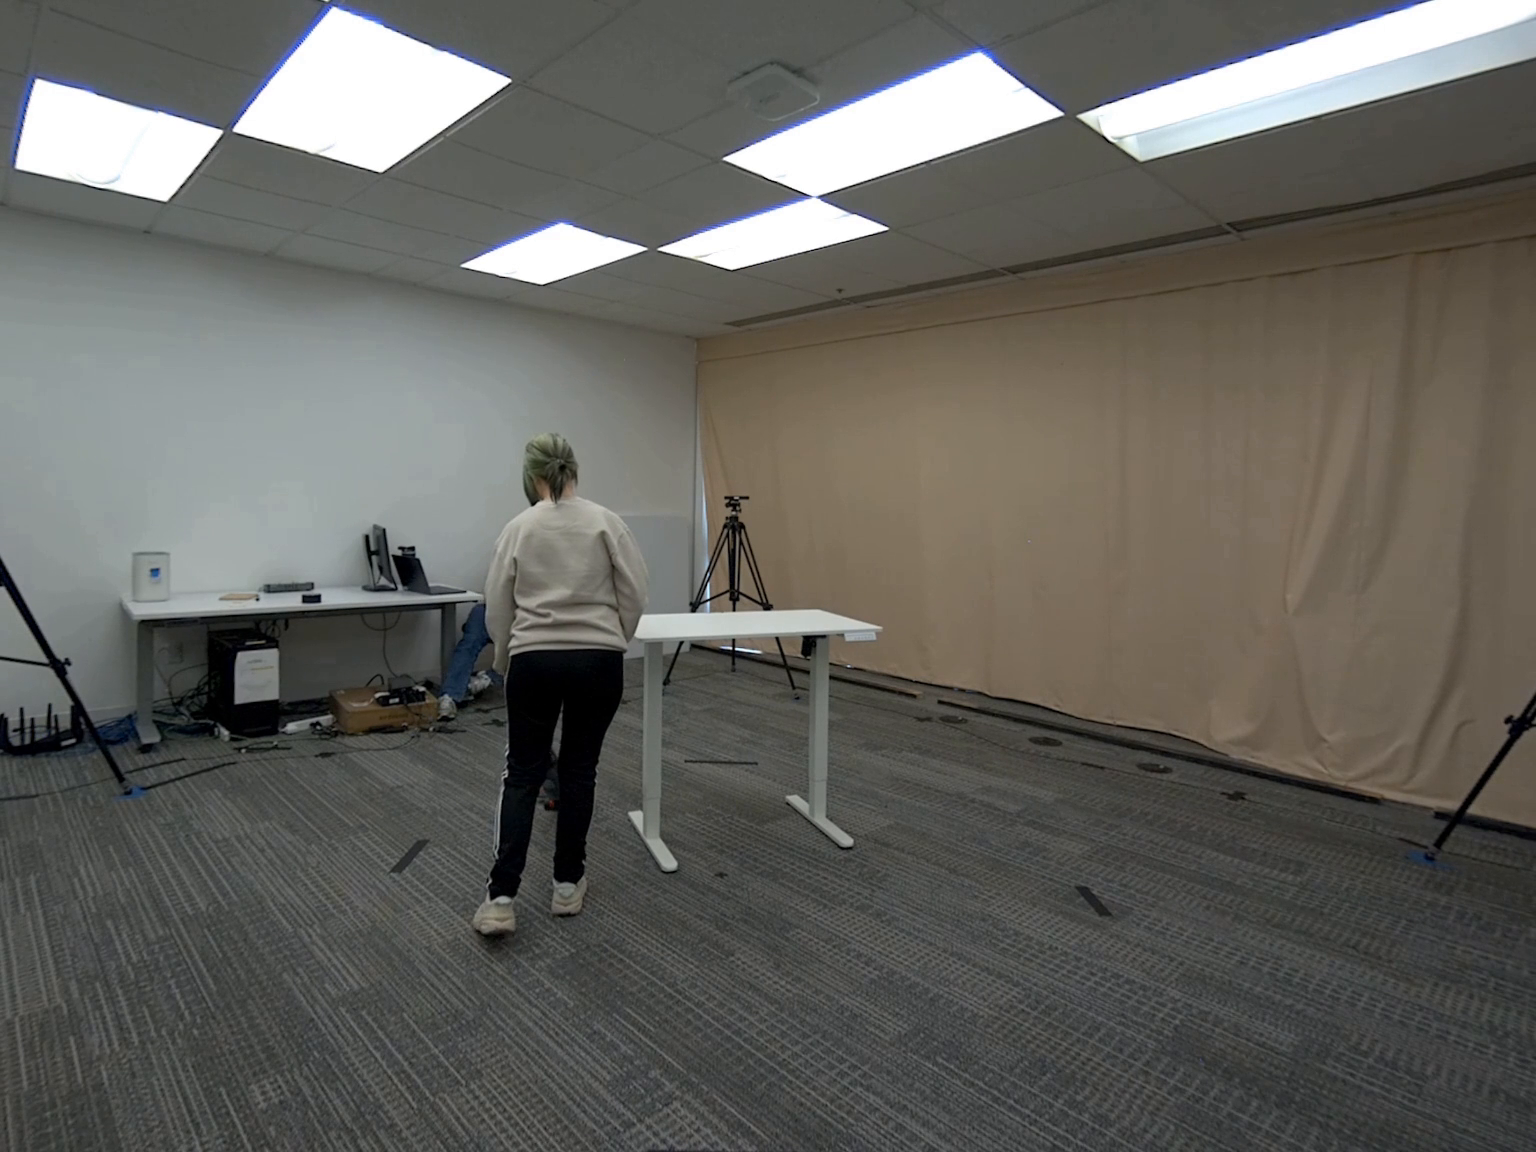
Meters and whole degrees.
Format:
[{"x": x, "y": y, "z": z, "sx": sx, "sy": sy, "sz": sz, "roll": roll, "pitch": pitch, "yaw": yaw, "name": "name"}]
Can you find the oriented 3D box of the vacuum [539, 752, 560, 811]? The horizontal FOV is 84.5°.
[{"x": -0.909, "y": 0.702, "z": 3.354, "sx": 0.252, "sy": 0.147, "sz": 1.029, "roll": 3, "pitch": -37, "yaw": -3, "name": "vacuum"}]
